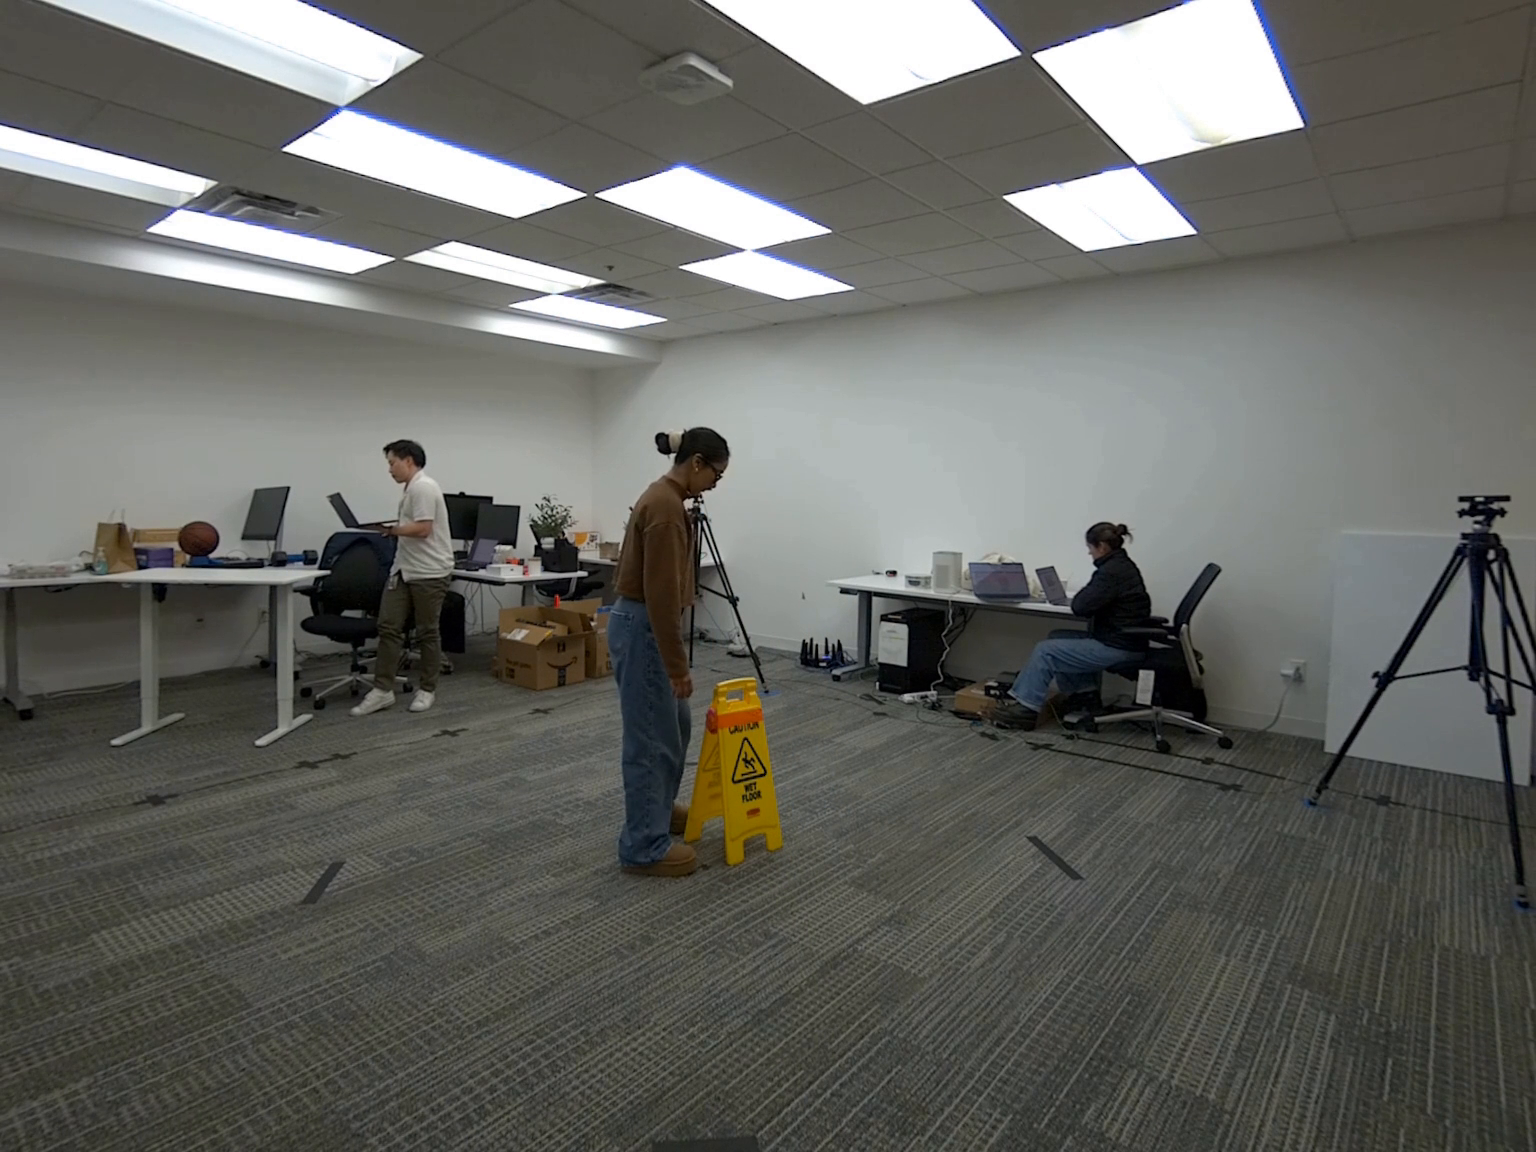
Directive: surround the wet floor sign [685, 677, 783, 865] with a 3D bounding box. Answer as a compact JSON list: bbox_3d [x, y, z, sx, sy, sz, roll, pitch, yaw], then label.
[{"bbox_3d":[-0.137,0.725,3.301,0.274,0.644,0.299,-2,4,-41],"label":"wet floor sign"}]
